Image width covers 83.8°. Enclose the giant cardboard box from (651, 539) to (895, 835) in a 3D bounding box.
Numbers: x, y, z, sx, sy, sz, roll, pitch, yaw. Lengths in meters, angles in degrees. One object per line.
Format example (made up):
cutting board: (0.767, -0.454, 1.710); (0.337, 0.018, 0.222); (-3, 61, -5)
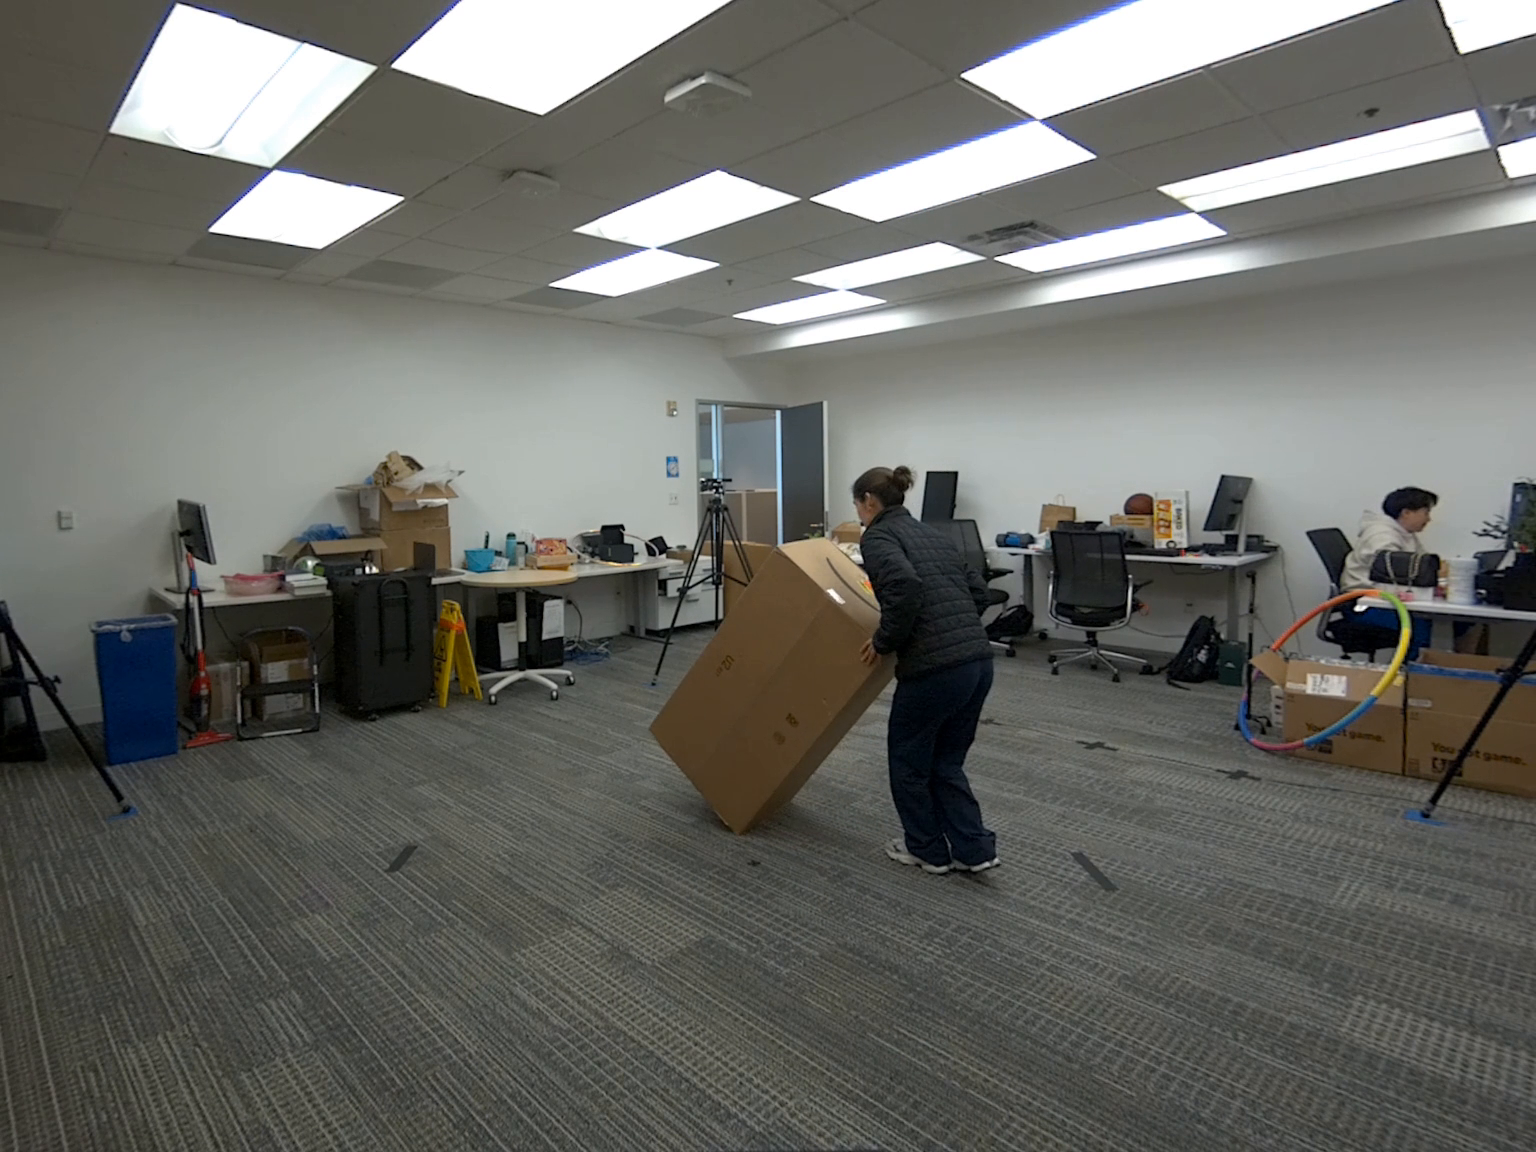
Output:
giant cardboard box: (0.060, 0.431, 3.448); (0.601, 1.022, 0.436); (45, 25, 22)
